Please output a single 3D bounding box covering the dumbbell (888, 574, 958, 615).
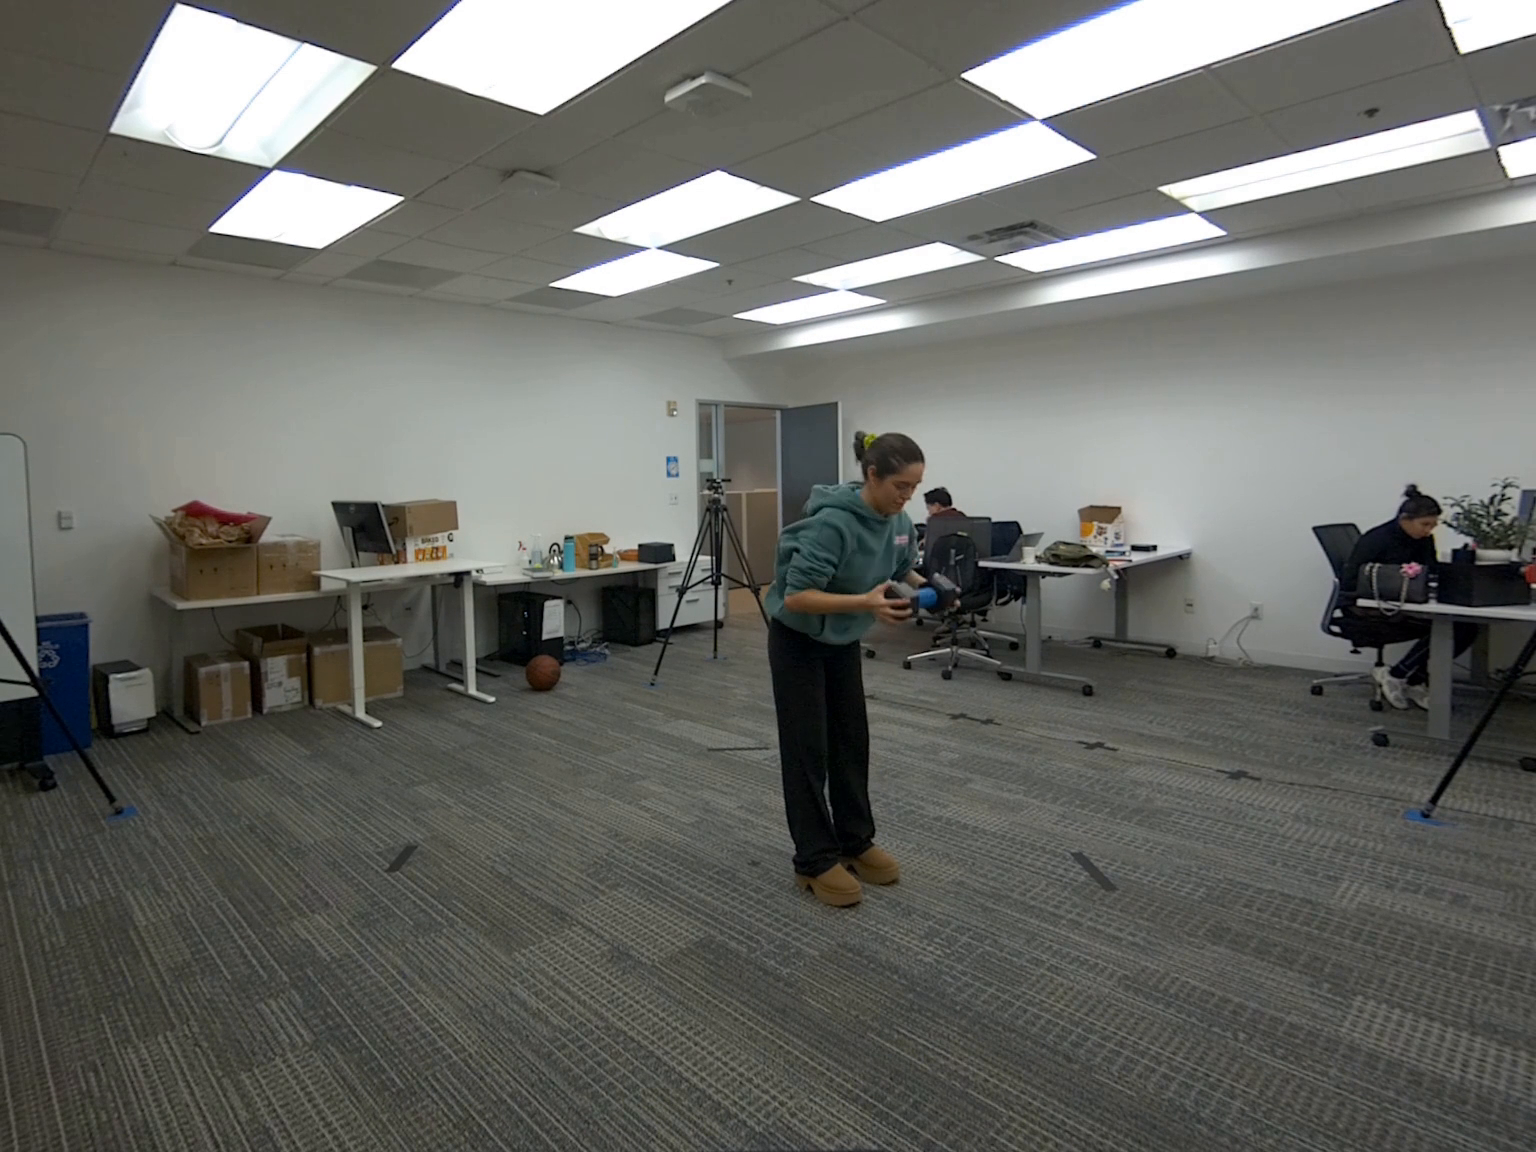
[{"bbox_3d":[0.455,0.080,2.675,0.286,0.107,0.127,-8,44,-42],"label":"dumbbell"}]
